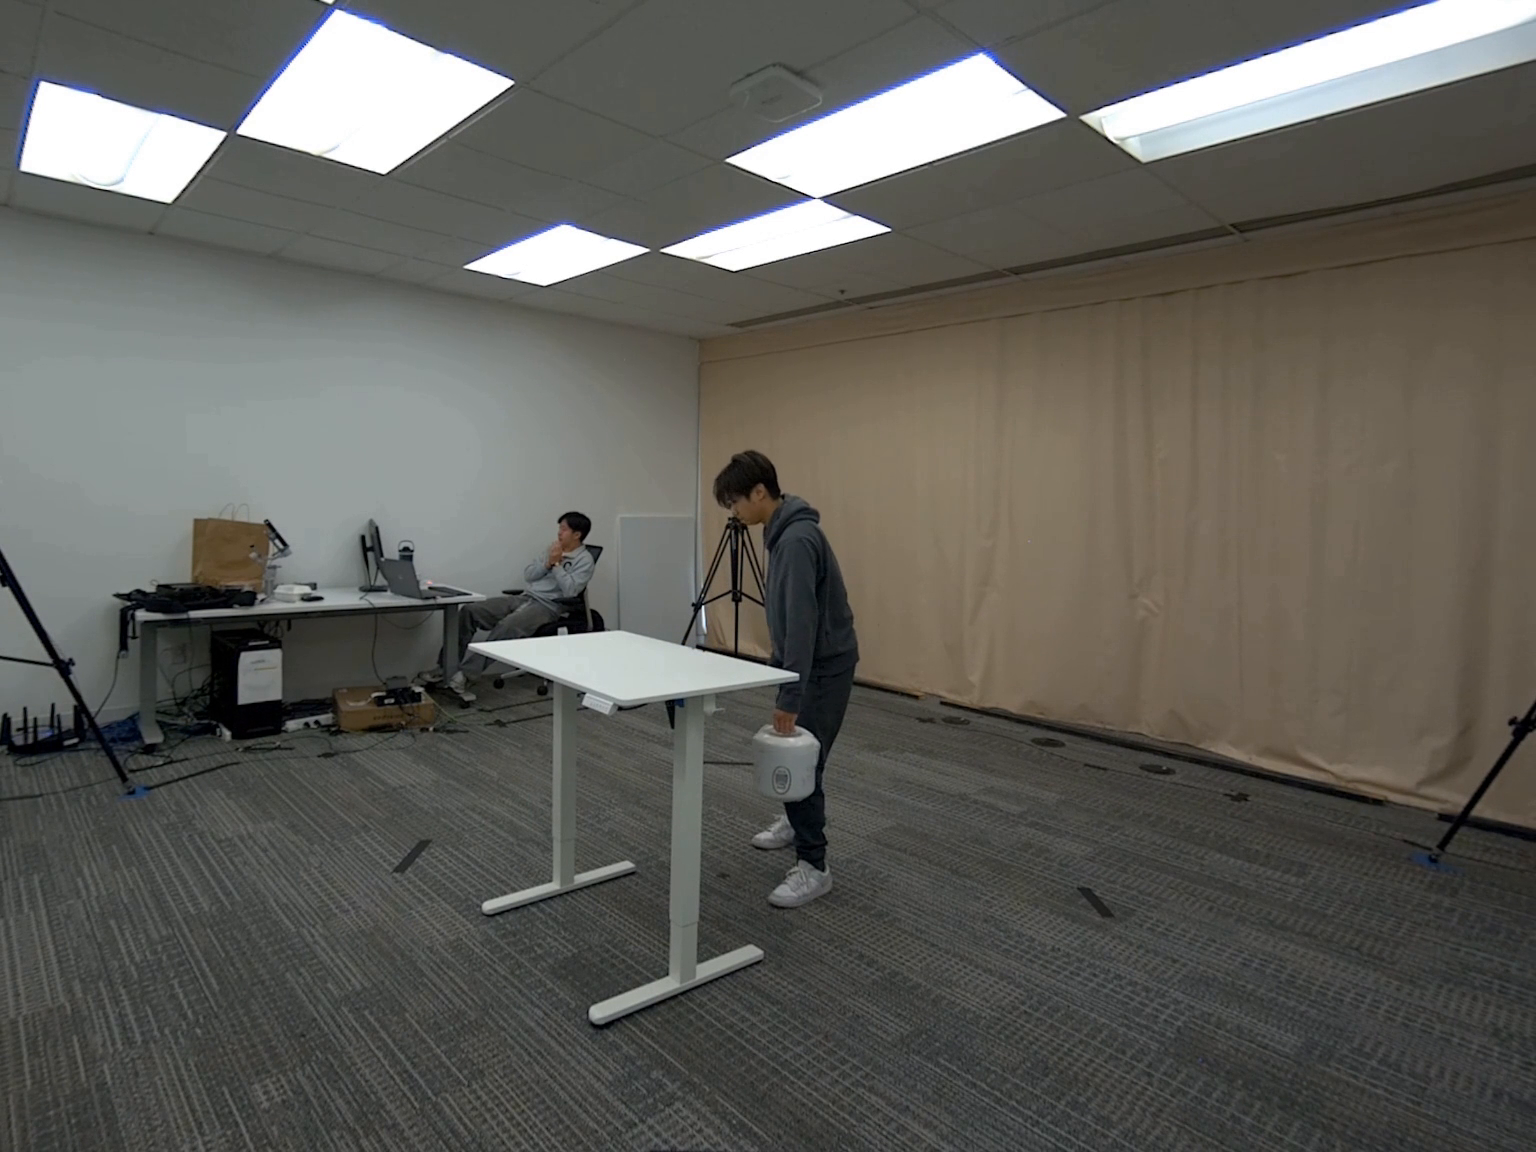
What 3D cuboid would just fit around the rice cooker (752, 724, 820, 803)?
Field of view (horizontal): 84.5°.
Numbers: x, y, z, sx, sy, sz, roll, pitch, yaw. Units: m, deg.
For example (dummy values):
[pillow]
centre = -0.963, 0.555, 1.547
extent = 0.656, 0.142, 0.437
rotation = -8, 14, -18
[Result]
[rice cooker]
centre = 0.049, 0.607, 2.768
extent = 0.222, 0.232, 0.216
rotation = 2, 1, 8
